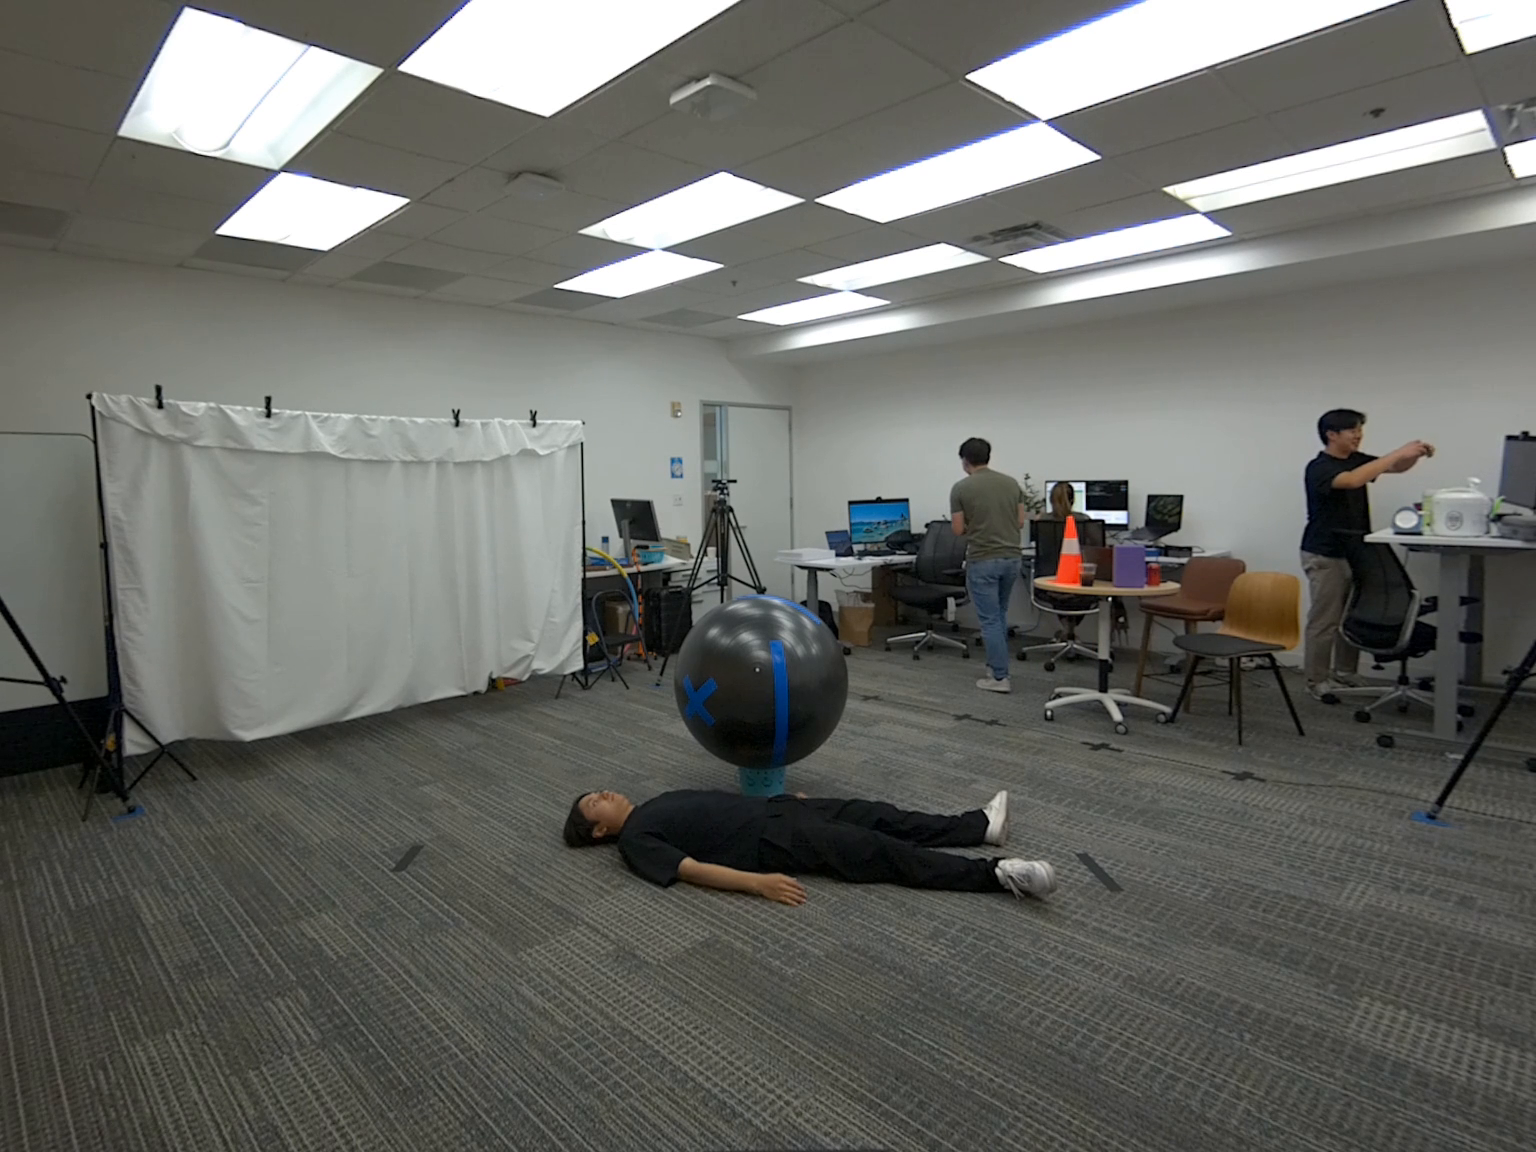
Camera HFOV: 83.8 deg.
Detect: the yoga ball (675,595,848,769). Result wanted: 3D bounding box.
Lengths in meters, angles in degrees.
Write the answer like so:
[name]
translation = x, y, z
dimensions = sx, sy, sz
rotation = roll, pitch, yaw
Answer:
[yoga ball]
translation = -0.029, 0.466, 3.764
dimensions = 0.757, 0.755, 0.762
rotation = -1, 5, -2
